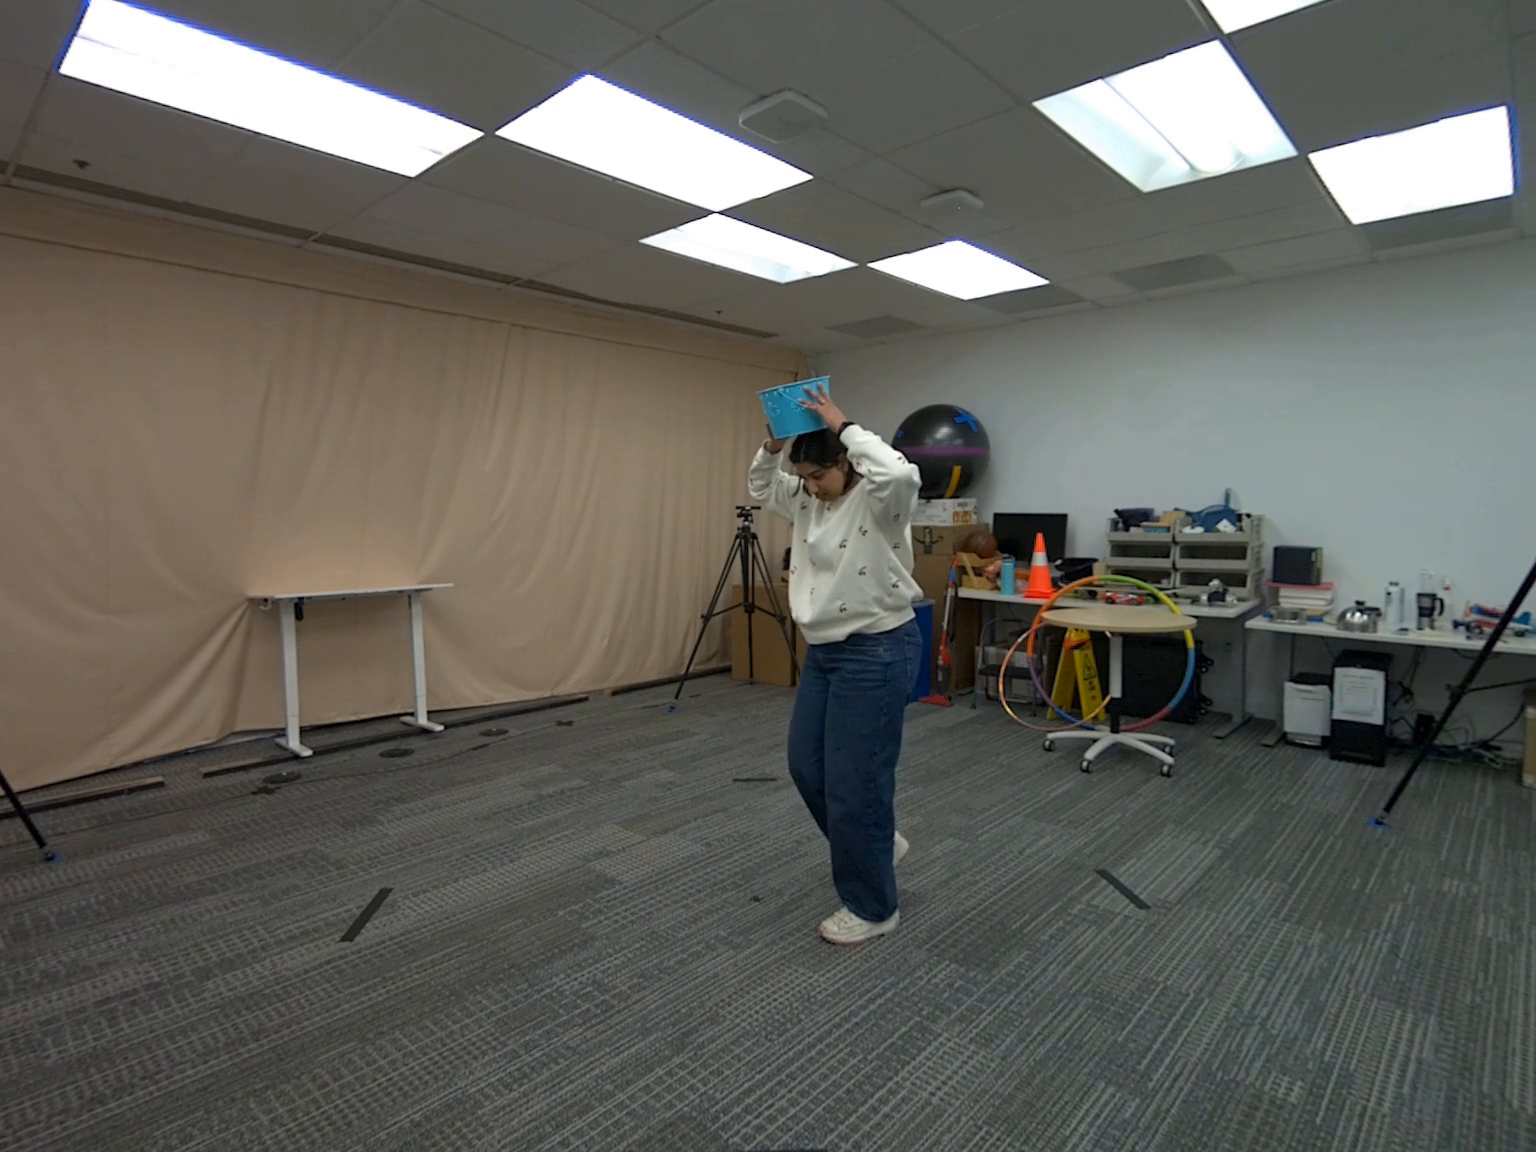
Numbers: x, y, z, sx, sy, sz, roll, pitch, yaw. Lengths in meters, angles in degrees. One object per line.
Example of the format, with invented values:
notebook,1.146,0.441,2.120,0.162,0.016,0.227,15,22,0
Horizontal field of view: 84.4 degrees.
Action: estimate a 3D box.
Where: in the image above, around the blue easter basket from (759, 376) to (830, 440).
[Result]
blue easter basket,0.096,-0.524,2.634,0.244,0.154,0.245,-15,11,1
